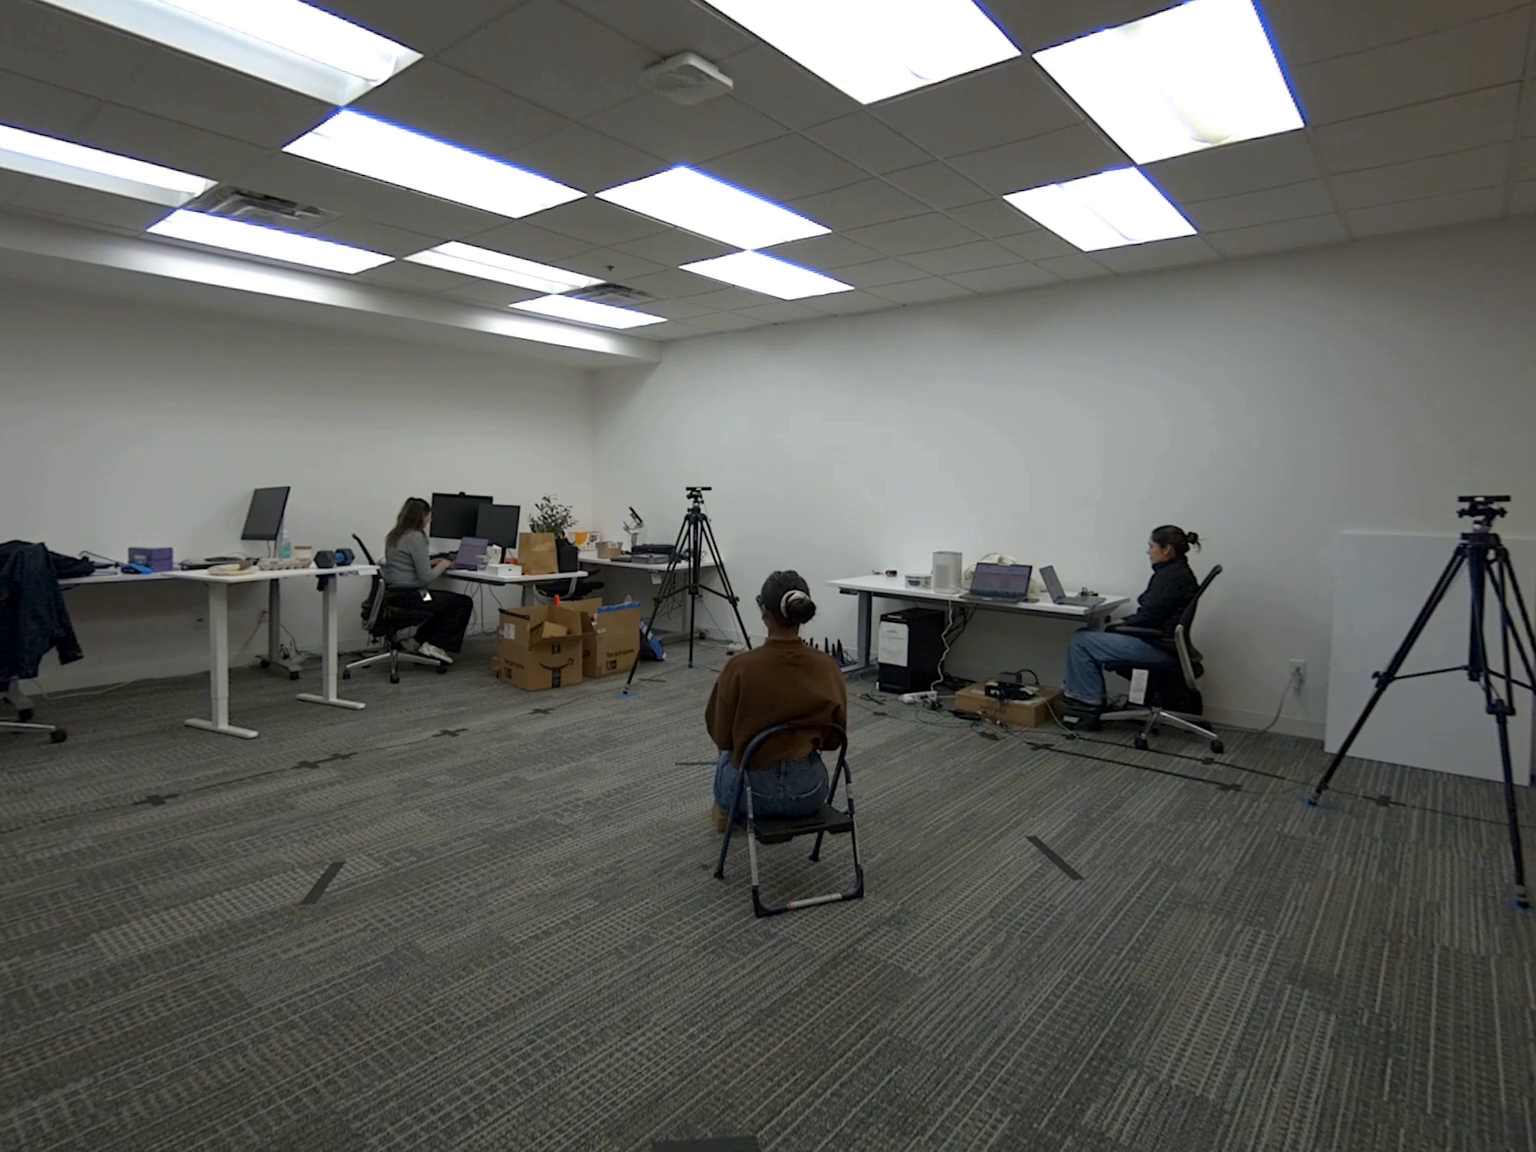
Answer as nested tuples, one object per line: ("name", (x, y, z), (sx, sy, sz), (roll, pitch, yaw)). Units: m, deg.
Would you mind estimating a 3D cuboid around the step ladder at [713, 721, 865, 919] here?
("step ladder", (0.069, 0.788, 2.968), (0.420, 0.604, 0.359), (-1, 4, -26))
